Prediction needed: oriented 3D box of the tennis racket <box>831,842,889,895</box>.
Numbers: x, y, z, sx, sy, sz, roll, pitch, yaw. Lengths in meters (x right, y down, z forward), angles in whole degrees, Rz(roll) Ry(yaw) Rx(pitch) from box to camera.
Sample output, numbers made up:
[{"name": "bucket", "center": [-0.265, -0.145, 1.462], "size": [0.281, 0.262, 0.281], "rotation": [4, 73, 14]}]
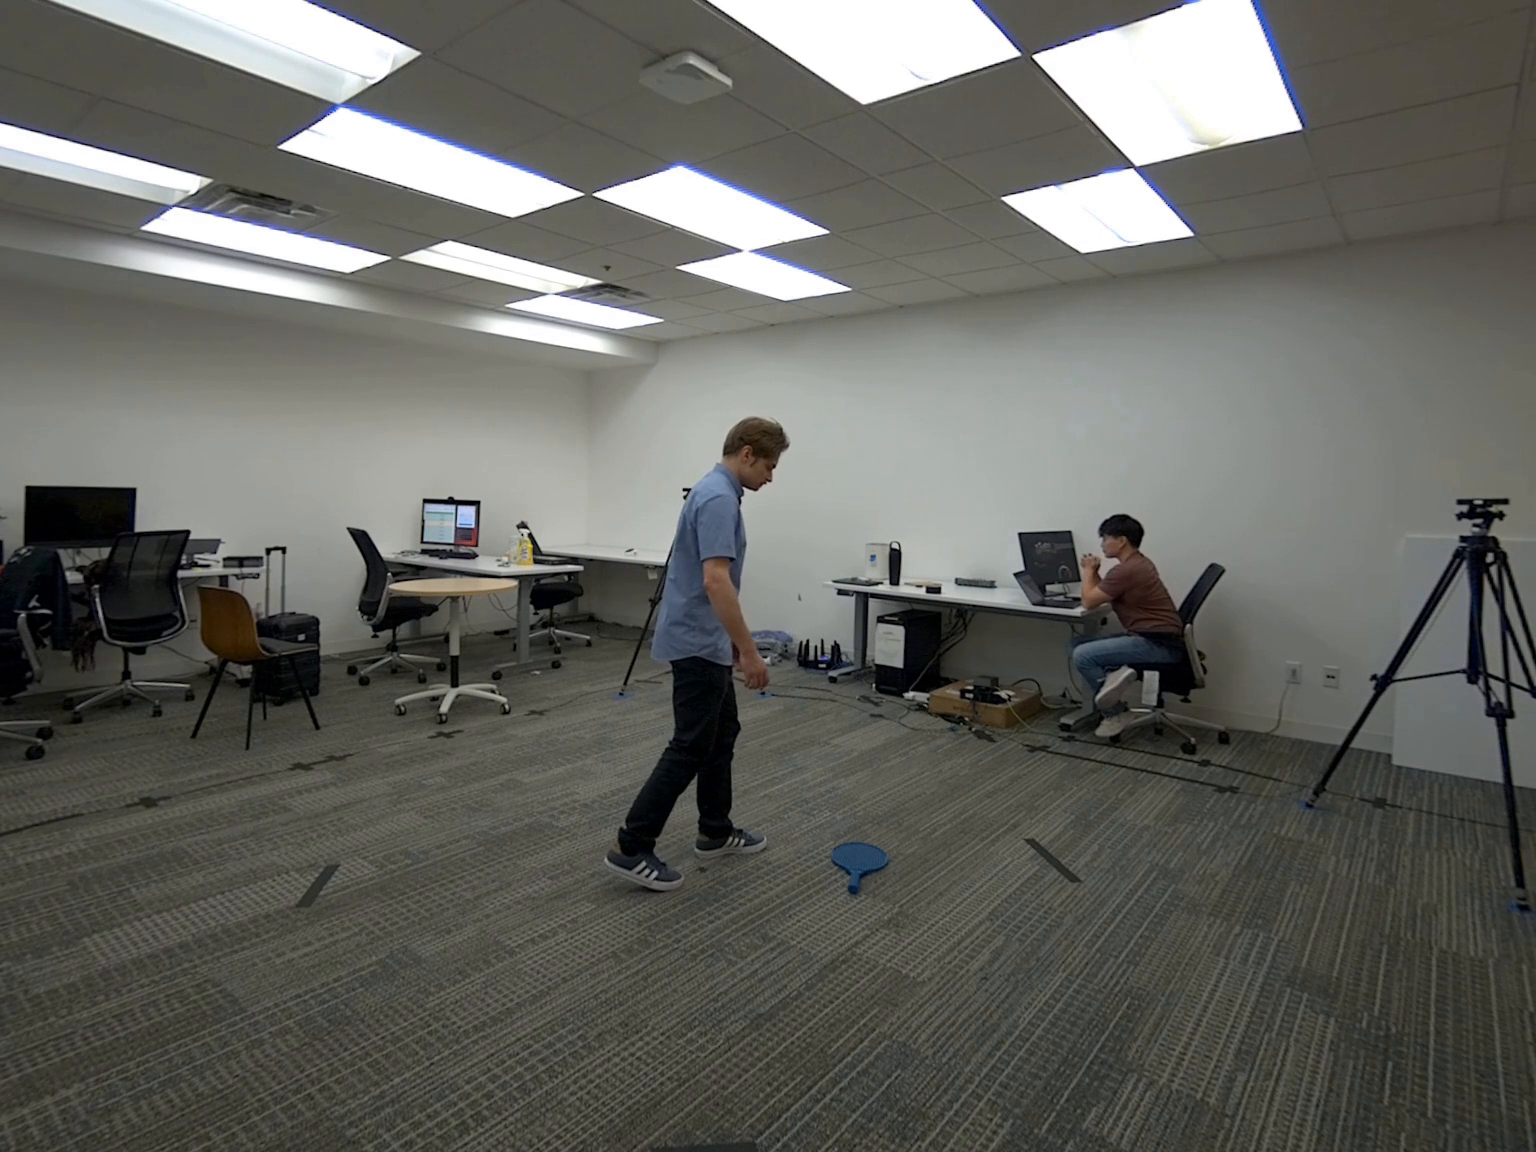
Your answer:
[{"name": "tennis racket", "center": [0.327, 1.068, 3.150], "size": [0.217, 0.032, 0.428], "rotation": [2, 4, 11]}]
